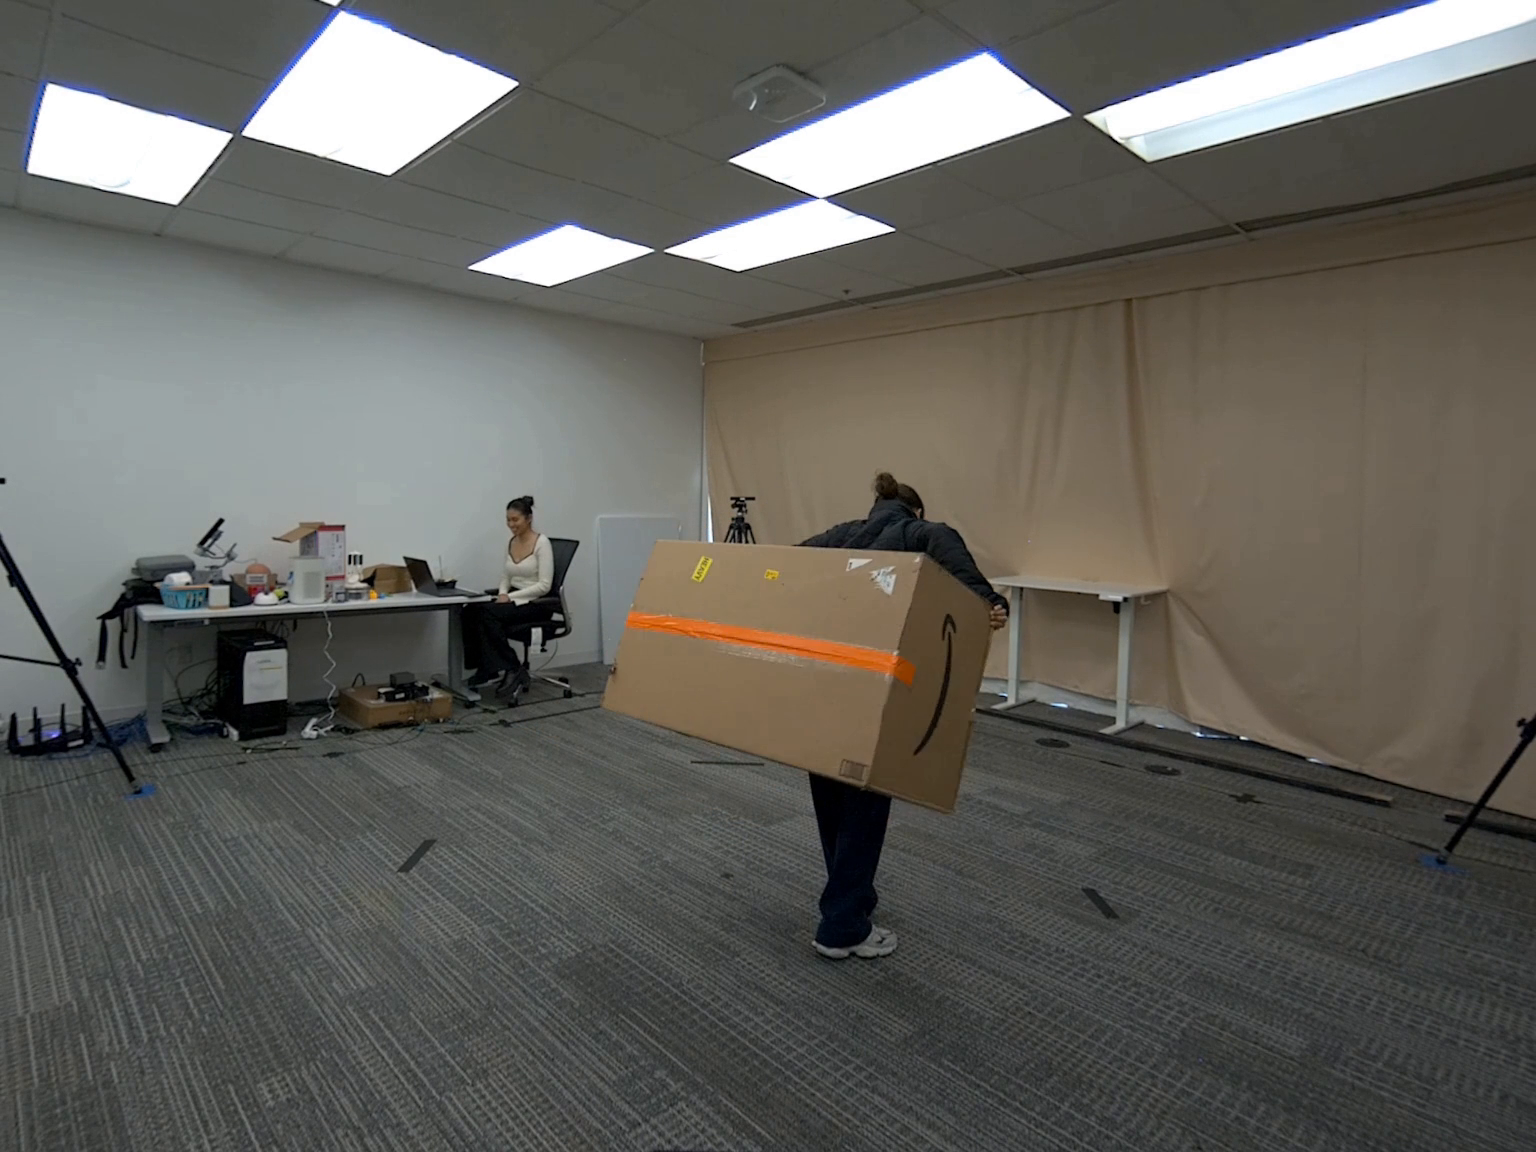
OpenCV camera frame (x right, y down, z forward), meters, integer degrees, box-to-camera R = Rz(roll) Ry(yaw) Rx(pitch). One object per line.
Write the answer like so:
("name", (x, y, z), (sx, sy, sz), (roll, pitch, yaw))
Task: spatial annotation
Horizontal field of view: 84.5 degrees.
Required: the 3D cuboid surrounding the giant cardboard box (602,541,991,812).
("giant cardboard box", (0.048, 0.253, 2.465), (1.052, 0.581, 0.413), (5, -18, 43))
